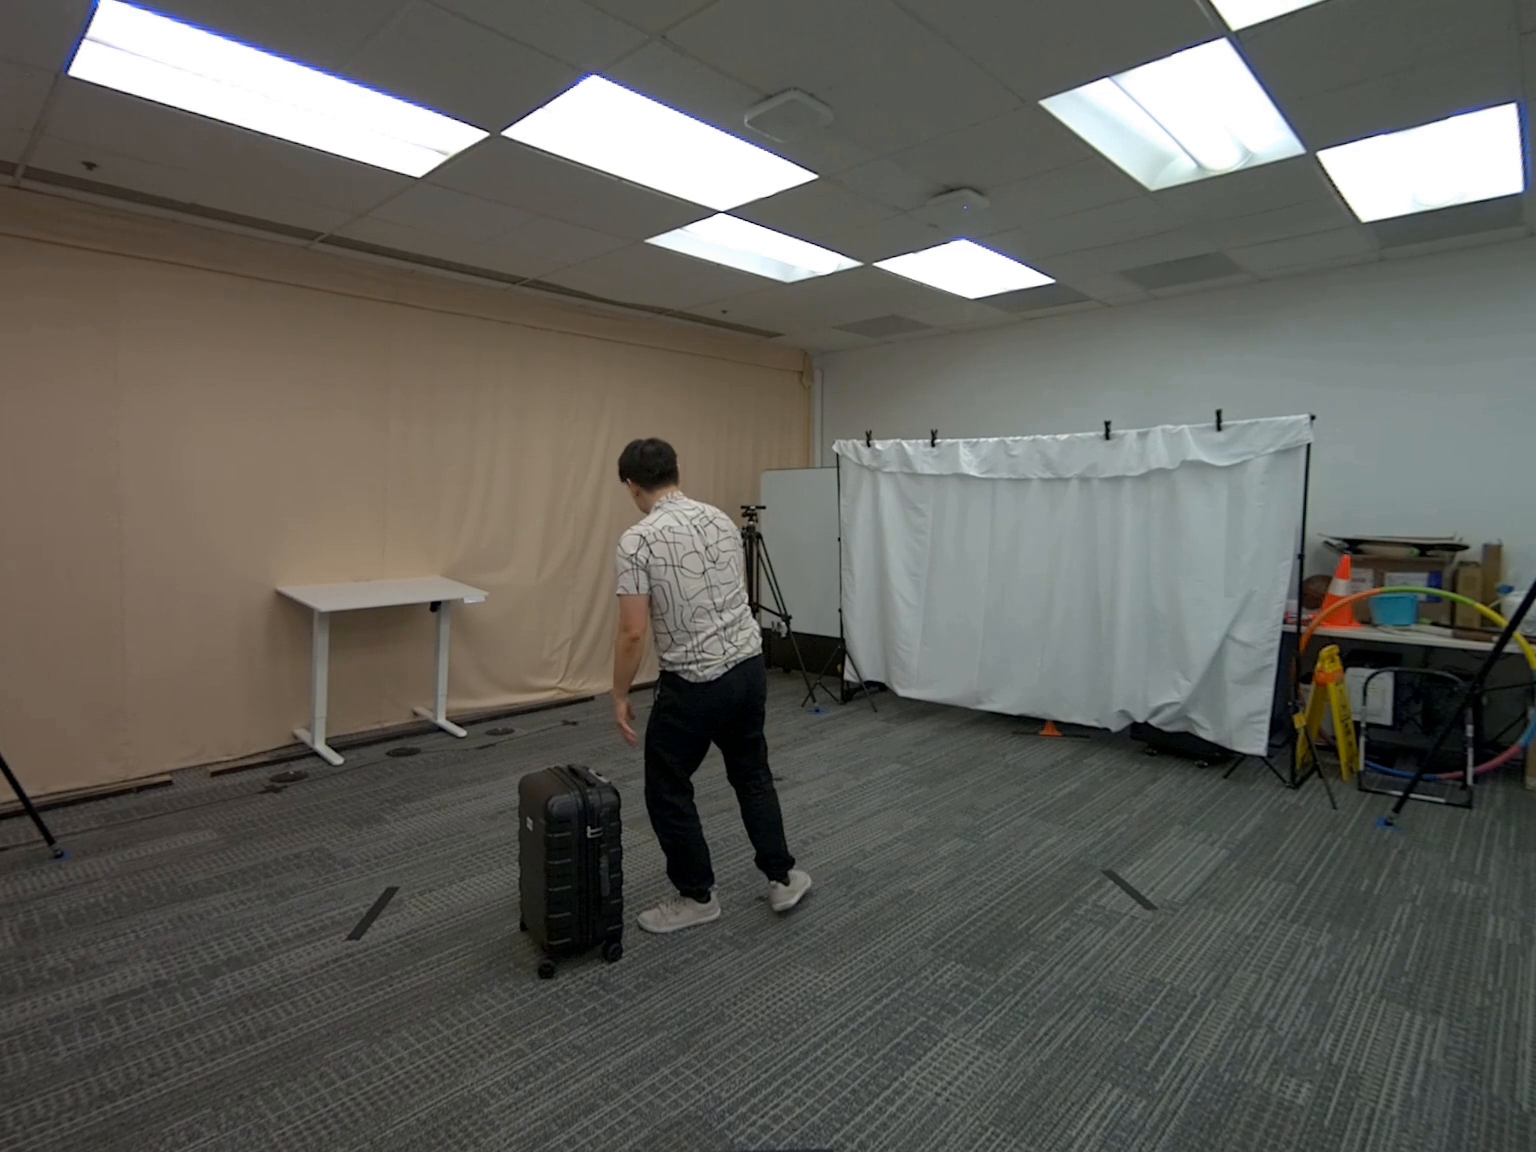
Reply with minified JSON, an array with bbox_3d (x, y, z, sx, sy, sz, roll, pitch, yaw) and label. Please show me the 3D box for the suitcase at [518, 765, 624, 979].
[{"bbox_3d":[-0.632,0.902,2.661,0.242,0.548,0.386,-3,4,-30],"label":"suitcase"}]
